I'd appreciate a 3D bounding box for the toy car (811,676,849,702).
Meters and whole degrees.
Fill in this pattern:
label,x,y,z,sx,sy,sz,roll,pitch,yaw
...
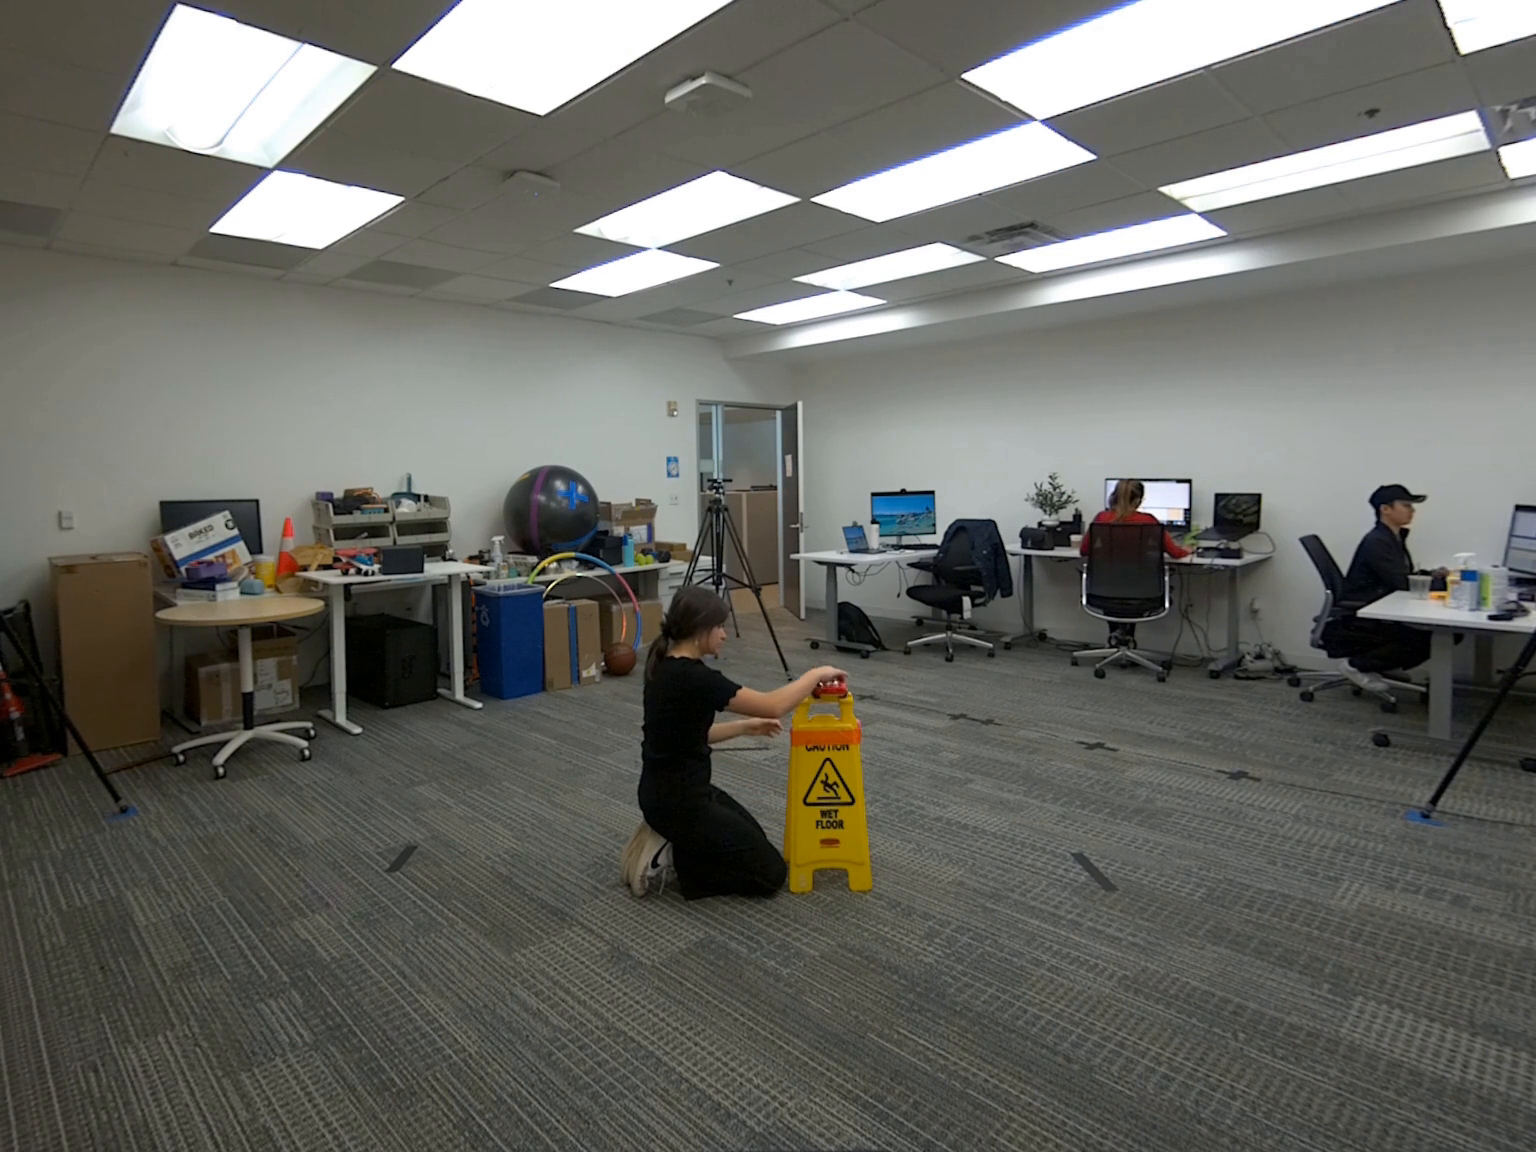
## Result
label,x,y,z,sx,sy,sz,roll,pitch,yaw
toy car,0.207,0.385,2.971,0.130,0.083,0.254,-1,-4,-5
